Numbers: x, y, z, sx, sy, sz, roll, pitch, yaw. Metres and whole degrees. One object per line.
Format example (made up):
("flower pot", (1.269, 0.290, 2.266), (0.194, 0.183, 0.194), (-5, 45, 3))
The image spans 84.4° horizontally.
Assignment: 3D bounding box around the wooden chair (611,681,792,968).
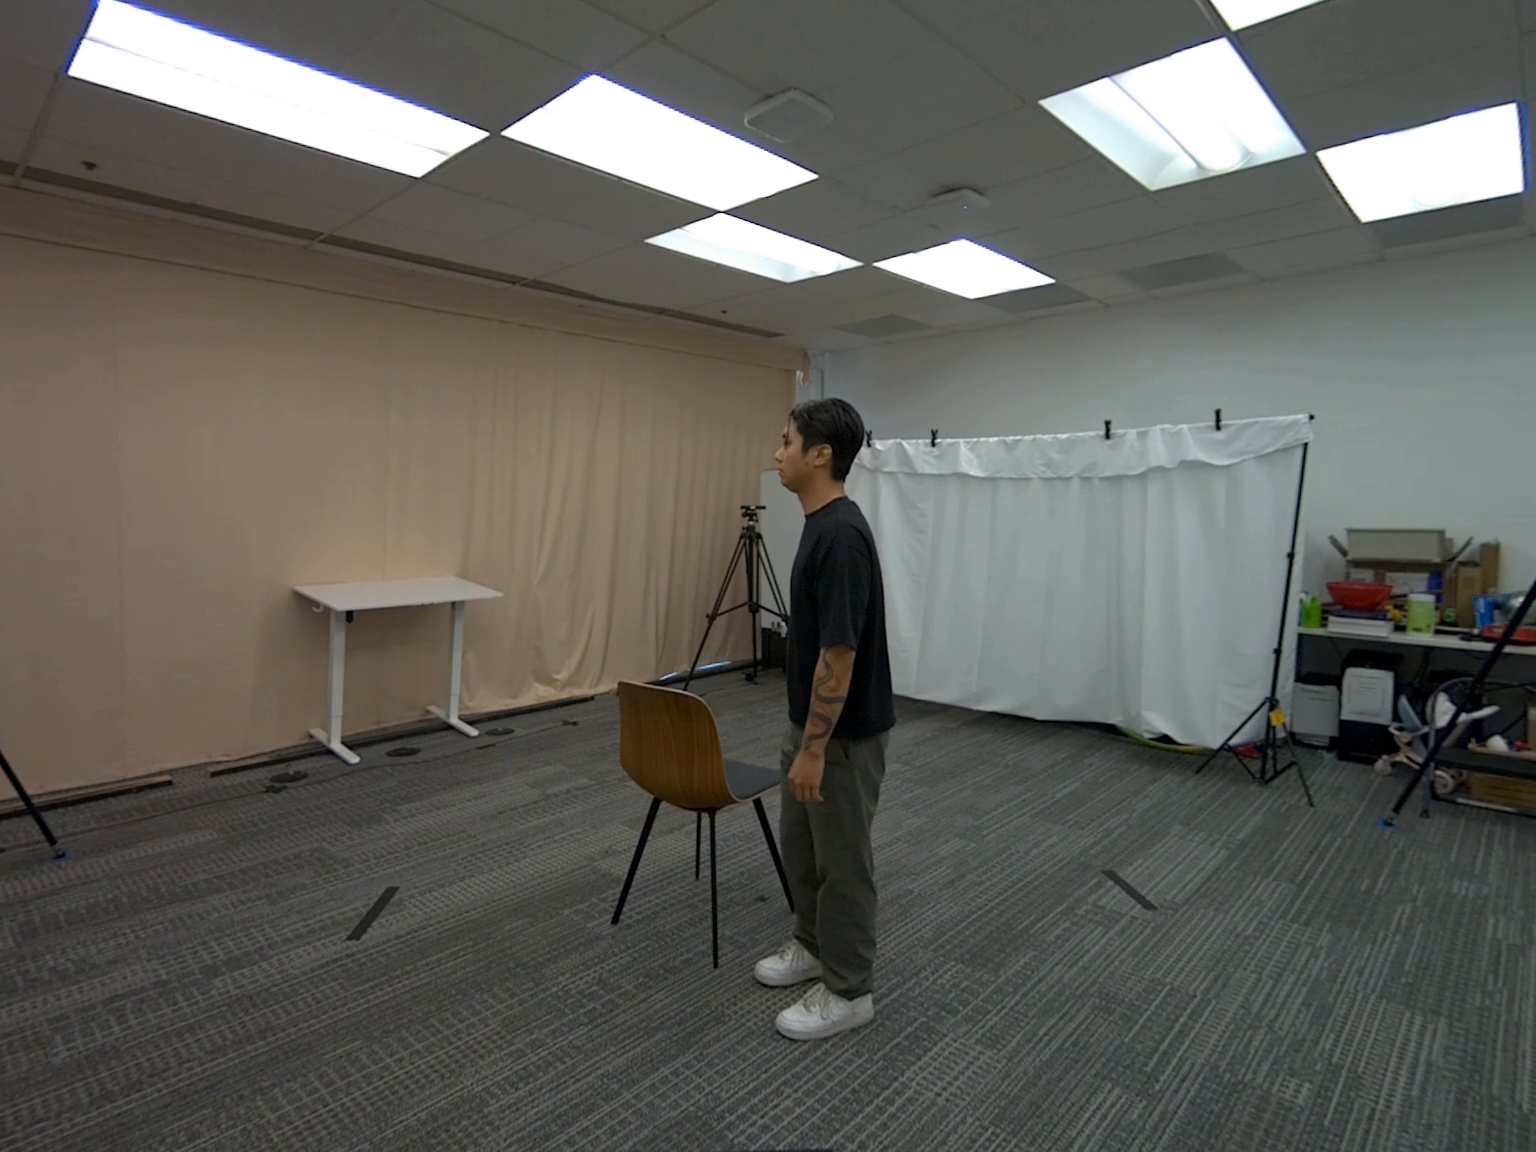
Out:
("wooden chair", (-0.207, 0.730, 2.827), (0.493, 0.873, 0.509), (2, 8, 36))
